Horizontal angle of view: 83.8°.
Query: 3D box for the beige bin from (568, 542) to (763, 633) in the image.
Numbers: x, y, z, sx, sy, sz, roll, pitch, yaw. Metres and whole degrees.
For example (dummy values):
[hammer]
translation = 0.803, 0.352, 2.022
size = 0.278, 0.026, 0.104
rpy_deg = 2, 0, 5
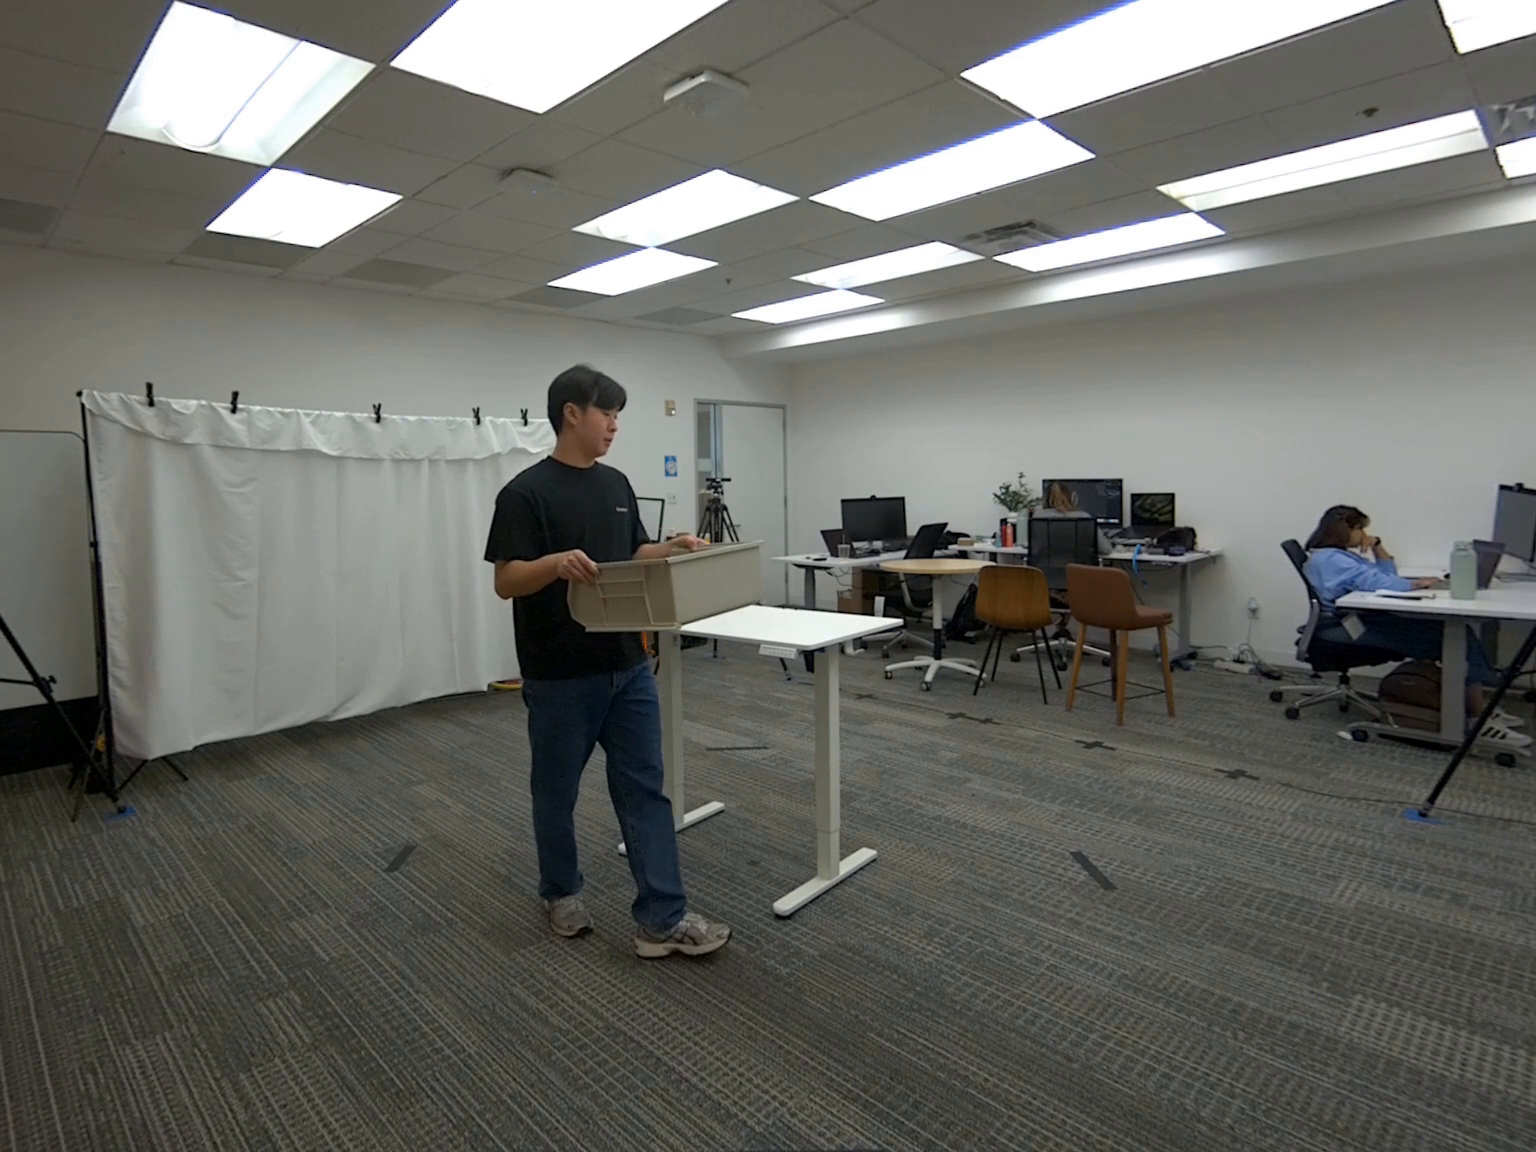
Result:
[beige bin]
translation = -0.262, 0.025, 2.354
size = 0.387, 0.188, 0.413
rpy_deg = -1, 7, 35
